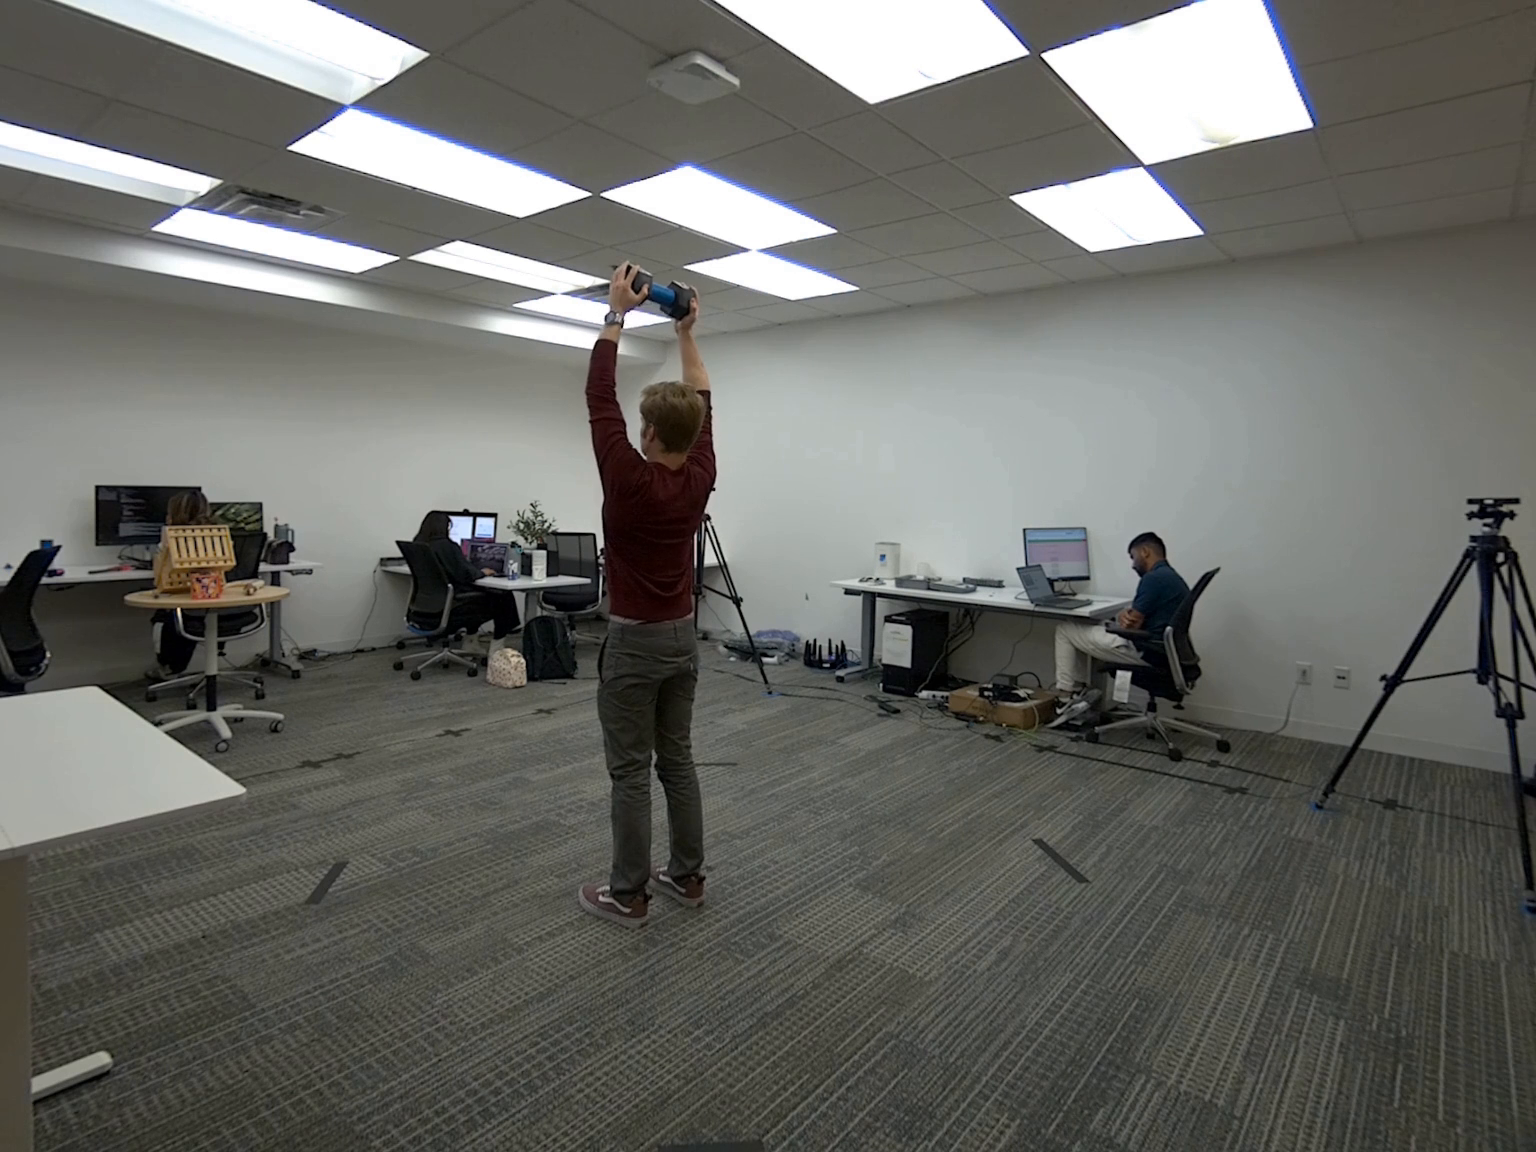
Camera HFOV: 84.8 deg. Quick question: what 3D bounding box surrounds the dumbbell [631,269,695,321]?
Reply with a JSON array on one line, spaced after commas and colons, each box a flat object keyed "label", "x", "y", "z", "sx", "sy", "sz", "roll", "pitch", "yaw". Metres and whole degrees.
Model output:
[{"label": "dumbbell", "x": -0.380, "y": -0.918, "z": 2.786, "sx": 0.112, "sy": 0.123, "sz": 0.284, "roll": 7, "pitch": 3, "yaw": 37}]
